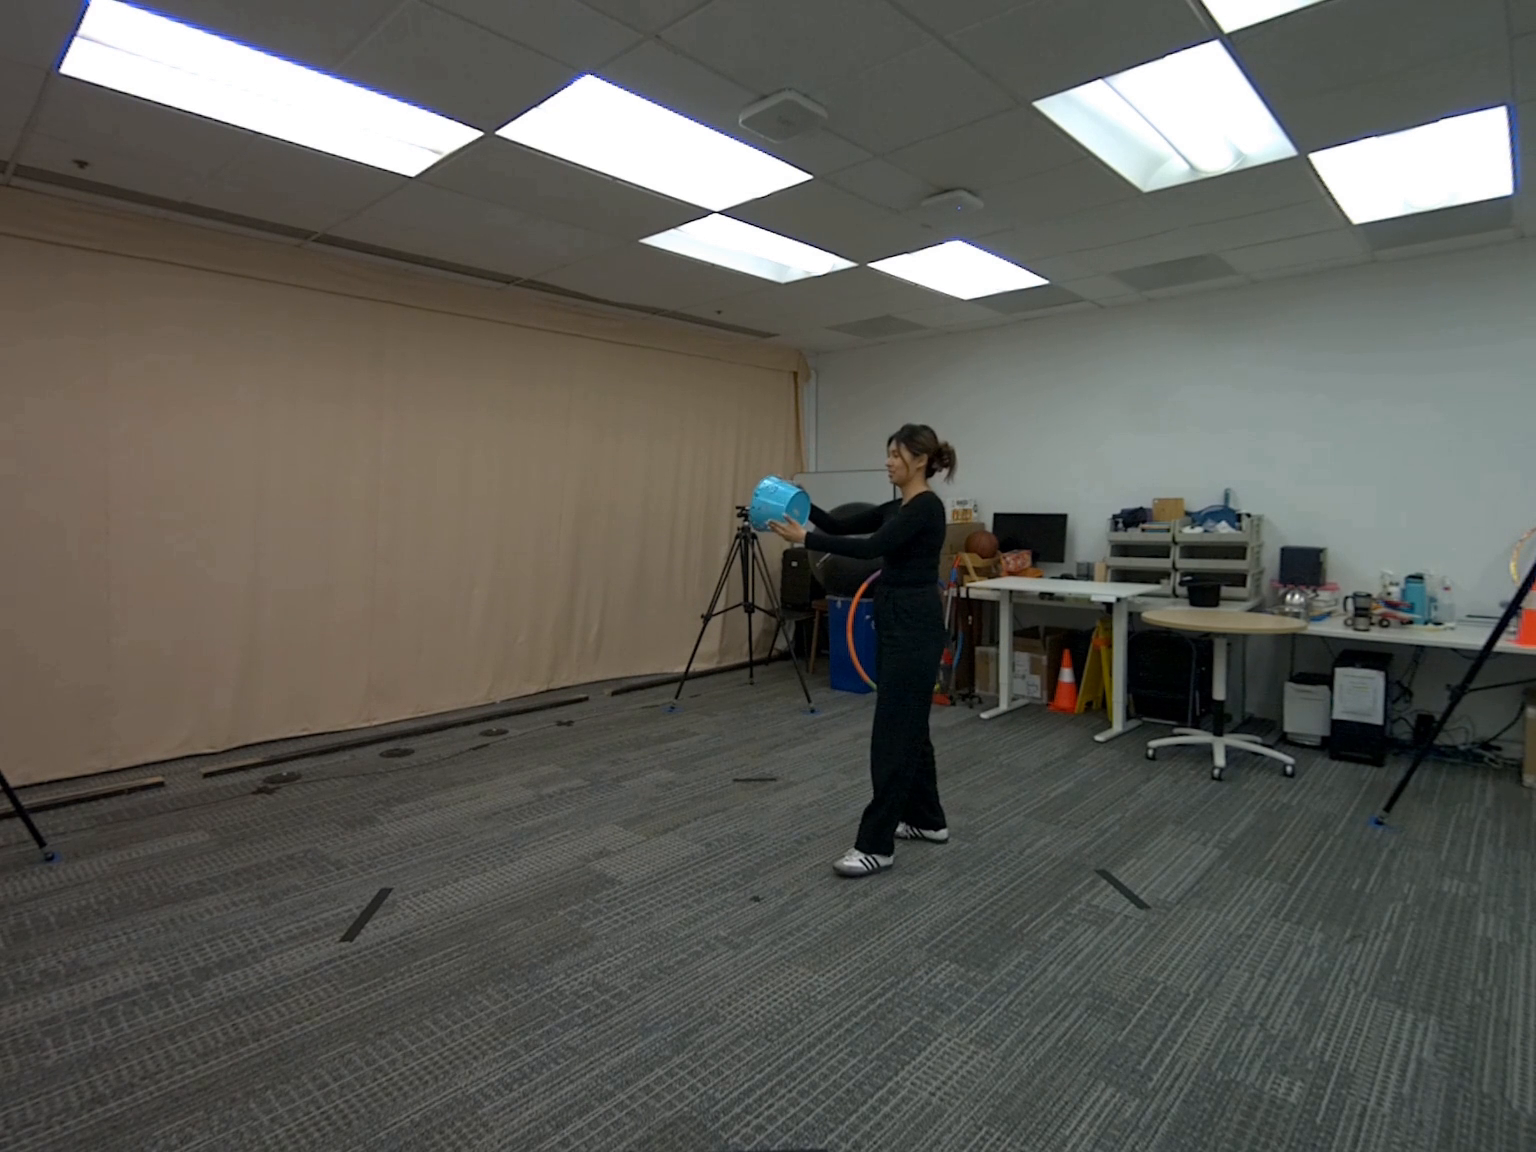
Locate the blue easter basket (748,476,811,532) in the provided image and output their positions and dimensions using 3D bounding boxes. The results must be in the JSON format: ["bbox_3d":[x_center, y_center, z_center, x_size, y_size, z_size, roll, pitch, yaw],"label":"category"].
[{"bbox_3d":[0.055,-0.276,3.340,0.161,0.242,0.236,18,13,34],"label":"blue easter basket"}]
